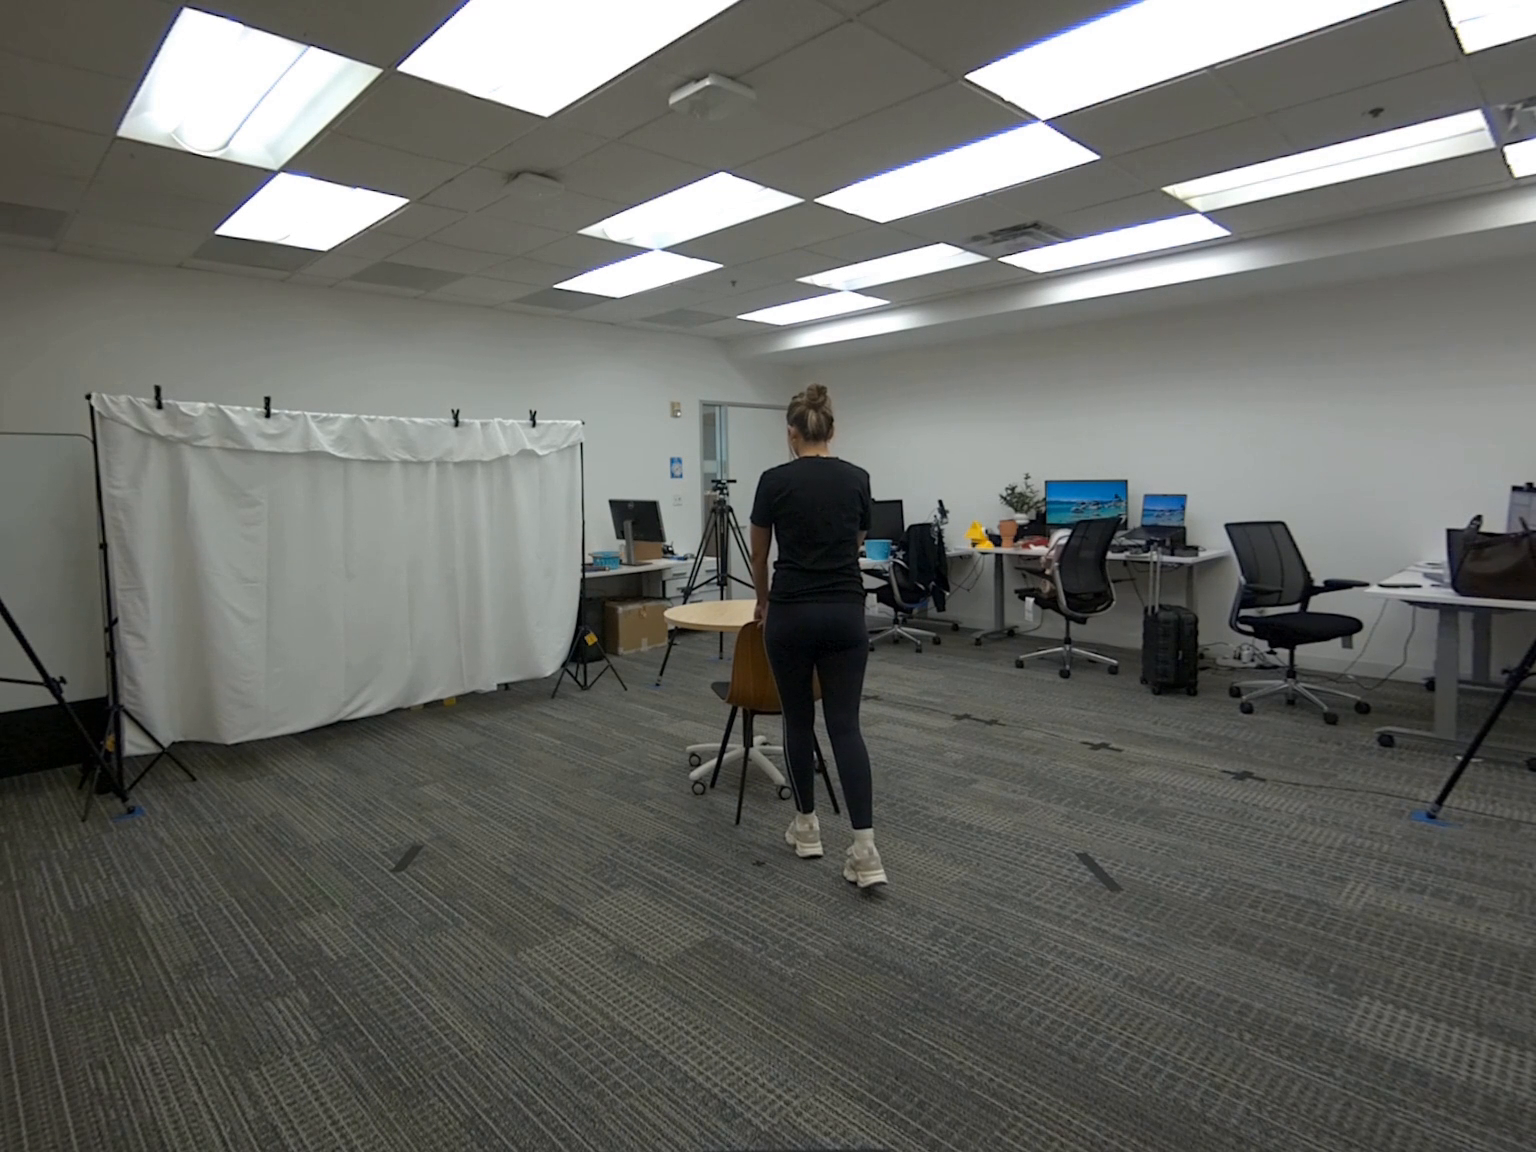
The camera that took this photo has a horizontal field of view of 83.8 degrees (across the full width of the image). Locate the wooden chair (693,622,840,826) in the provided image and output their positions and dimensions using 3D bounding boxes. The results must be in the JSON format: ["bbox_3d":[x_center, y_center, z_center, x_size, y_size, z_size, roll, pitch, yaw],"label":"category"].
[{"bbox_3d":[0.008,0.552,3.699,0.471,0.871,0.534,-2,8,-16],"label":"wooden chair"}]
